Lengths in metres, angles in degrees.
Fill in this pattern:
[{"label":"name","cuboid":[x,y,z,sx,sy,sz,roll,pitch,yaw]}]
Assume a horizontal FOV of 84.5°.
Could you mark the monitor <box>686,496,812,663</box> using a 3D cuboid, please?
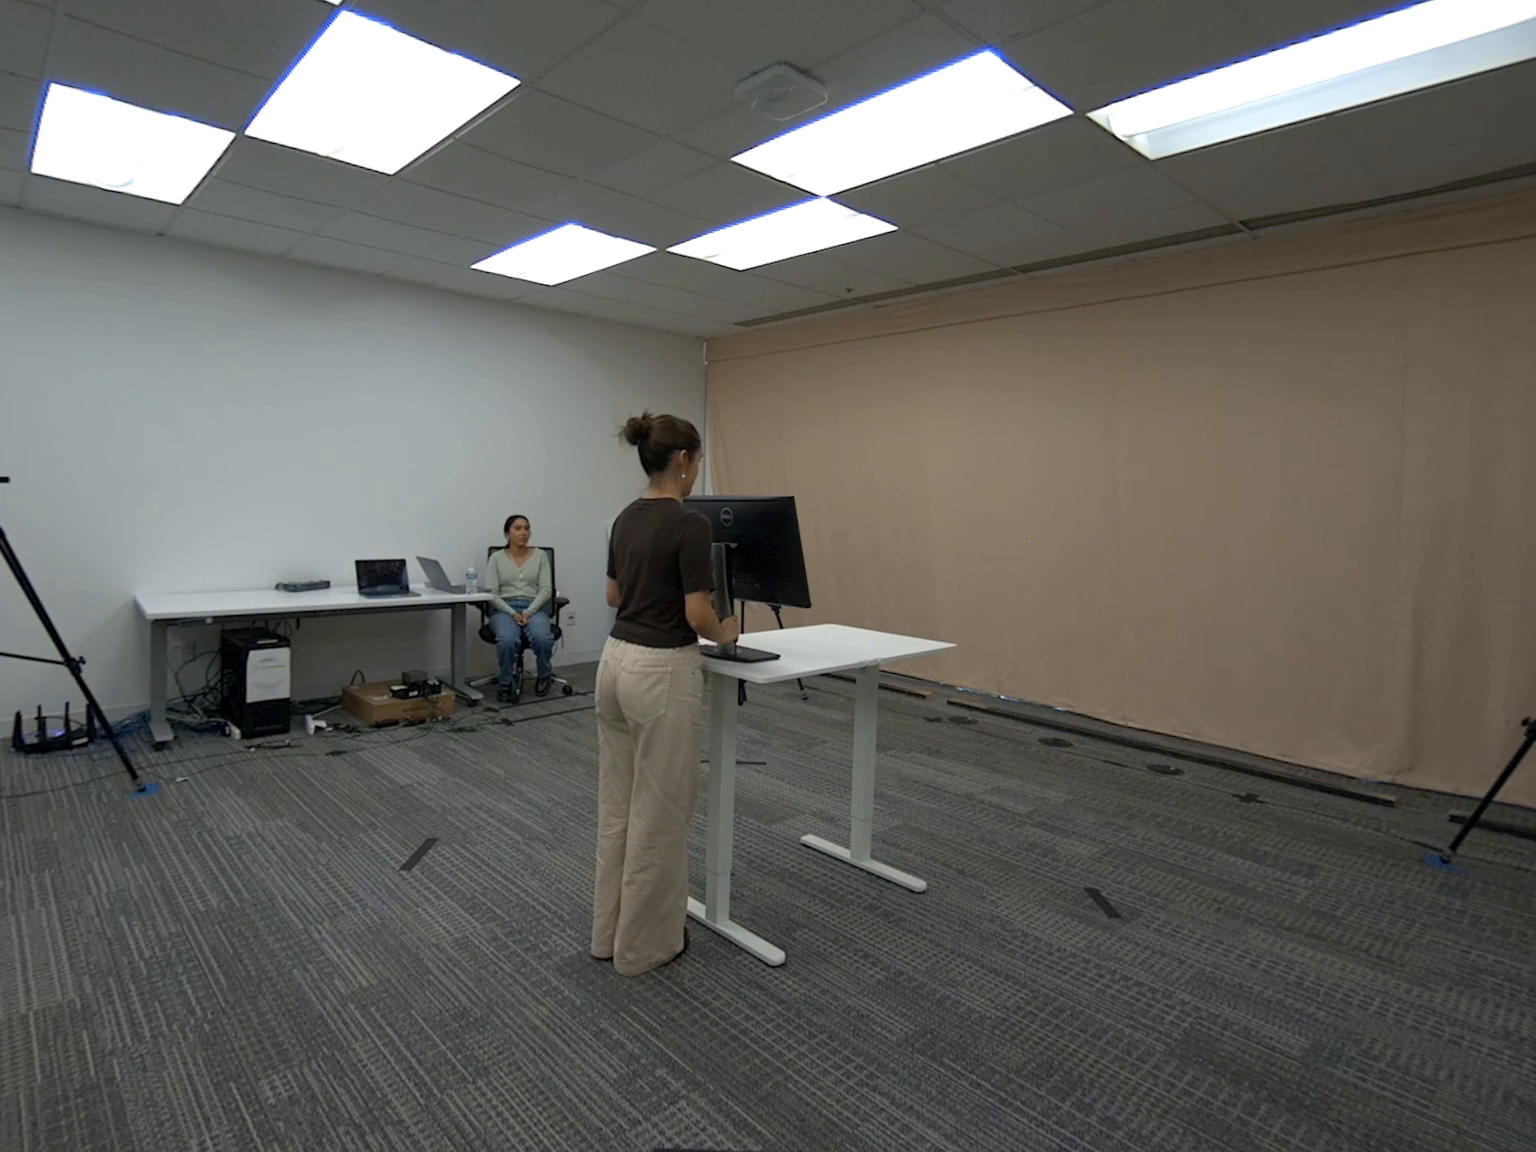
[{"label":"monitor","cuboid":[-0.108,0.001,2.692,0.543,0.516,0.170,3,1,45]}]
